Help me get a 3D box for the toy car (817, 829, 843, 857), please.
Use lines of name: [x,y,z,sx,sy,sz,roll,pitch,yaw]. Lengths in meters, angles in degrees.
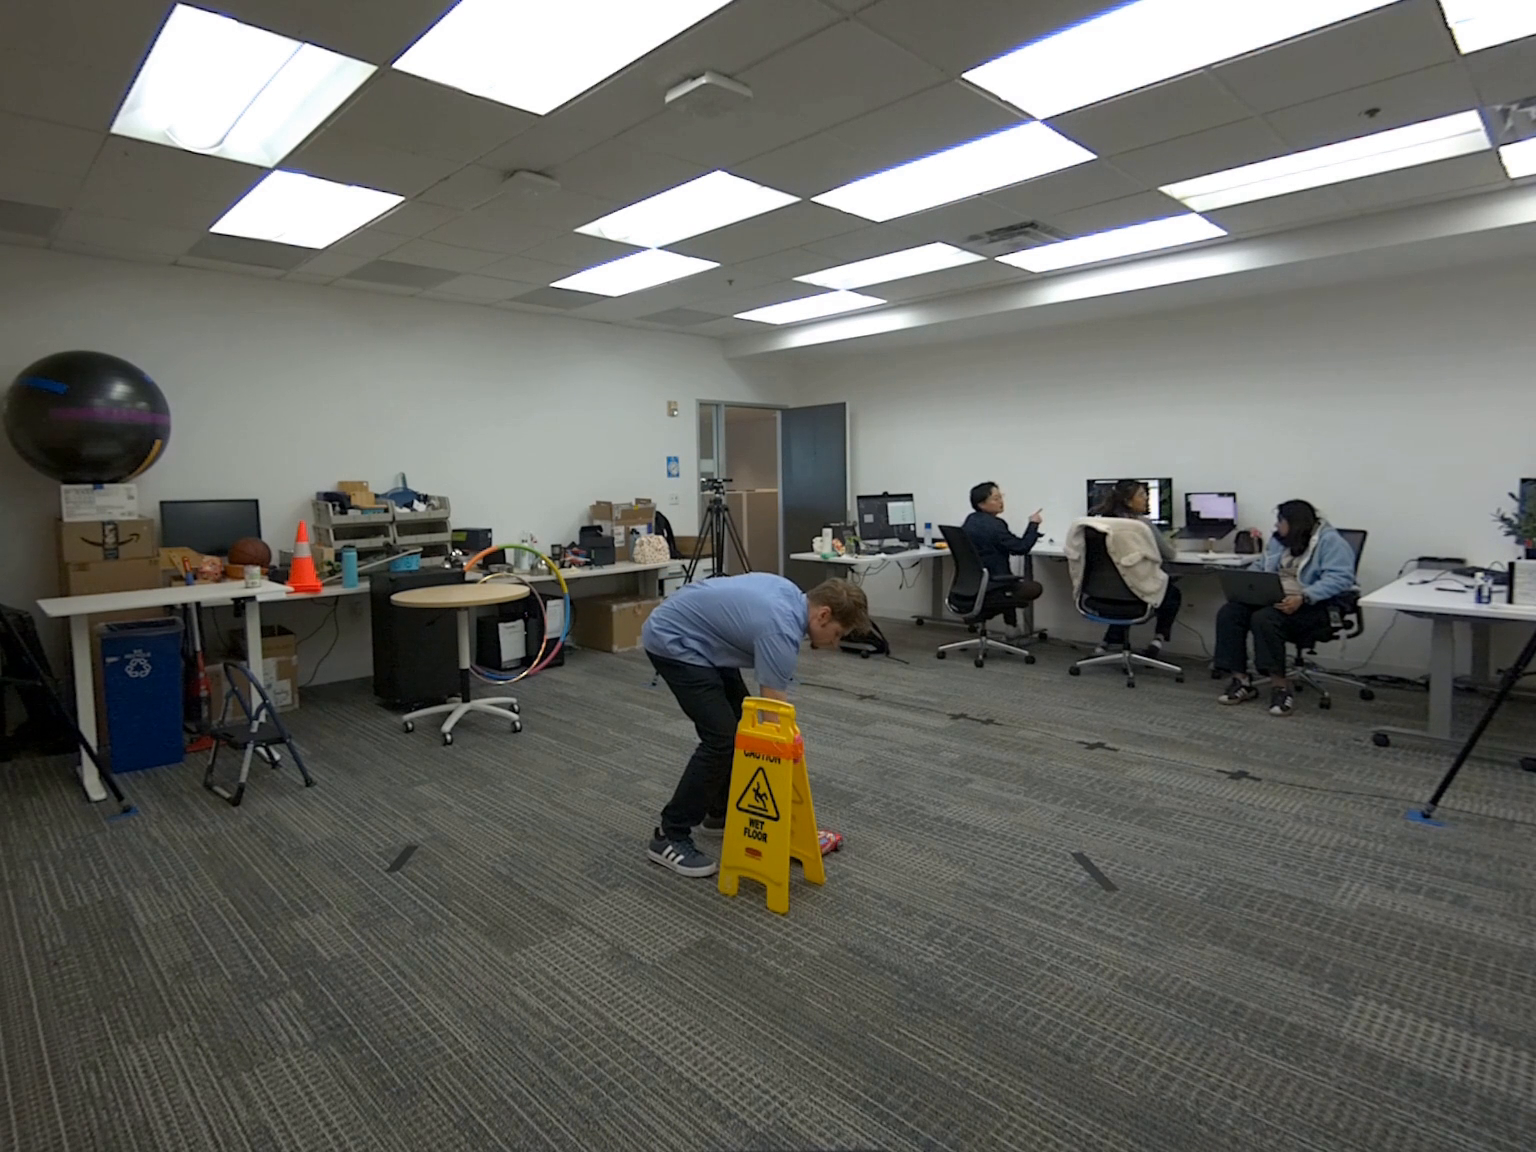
toy car: [0.171,1.008,3.170,0.134,0.083,0.246,5,0,42]
